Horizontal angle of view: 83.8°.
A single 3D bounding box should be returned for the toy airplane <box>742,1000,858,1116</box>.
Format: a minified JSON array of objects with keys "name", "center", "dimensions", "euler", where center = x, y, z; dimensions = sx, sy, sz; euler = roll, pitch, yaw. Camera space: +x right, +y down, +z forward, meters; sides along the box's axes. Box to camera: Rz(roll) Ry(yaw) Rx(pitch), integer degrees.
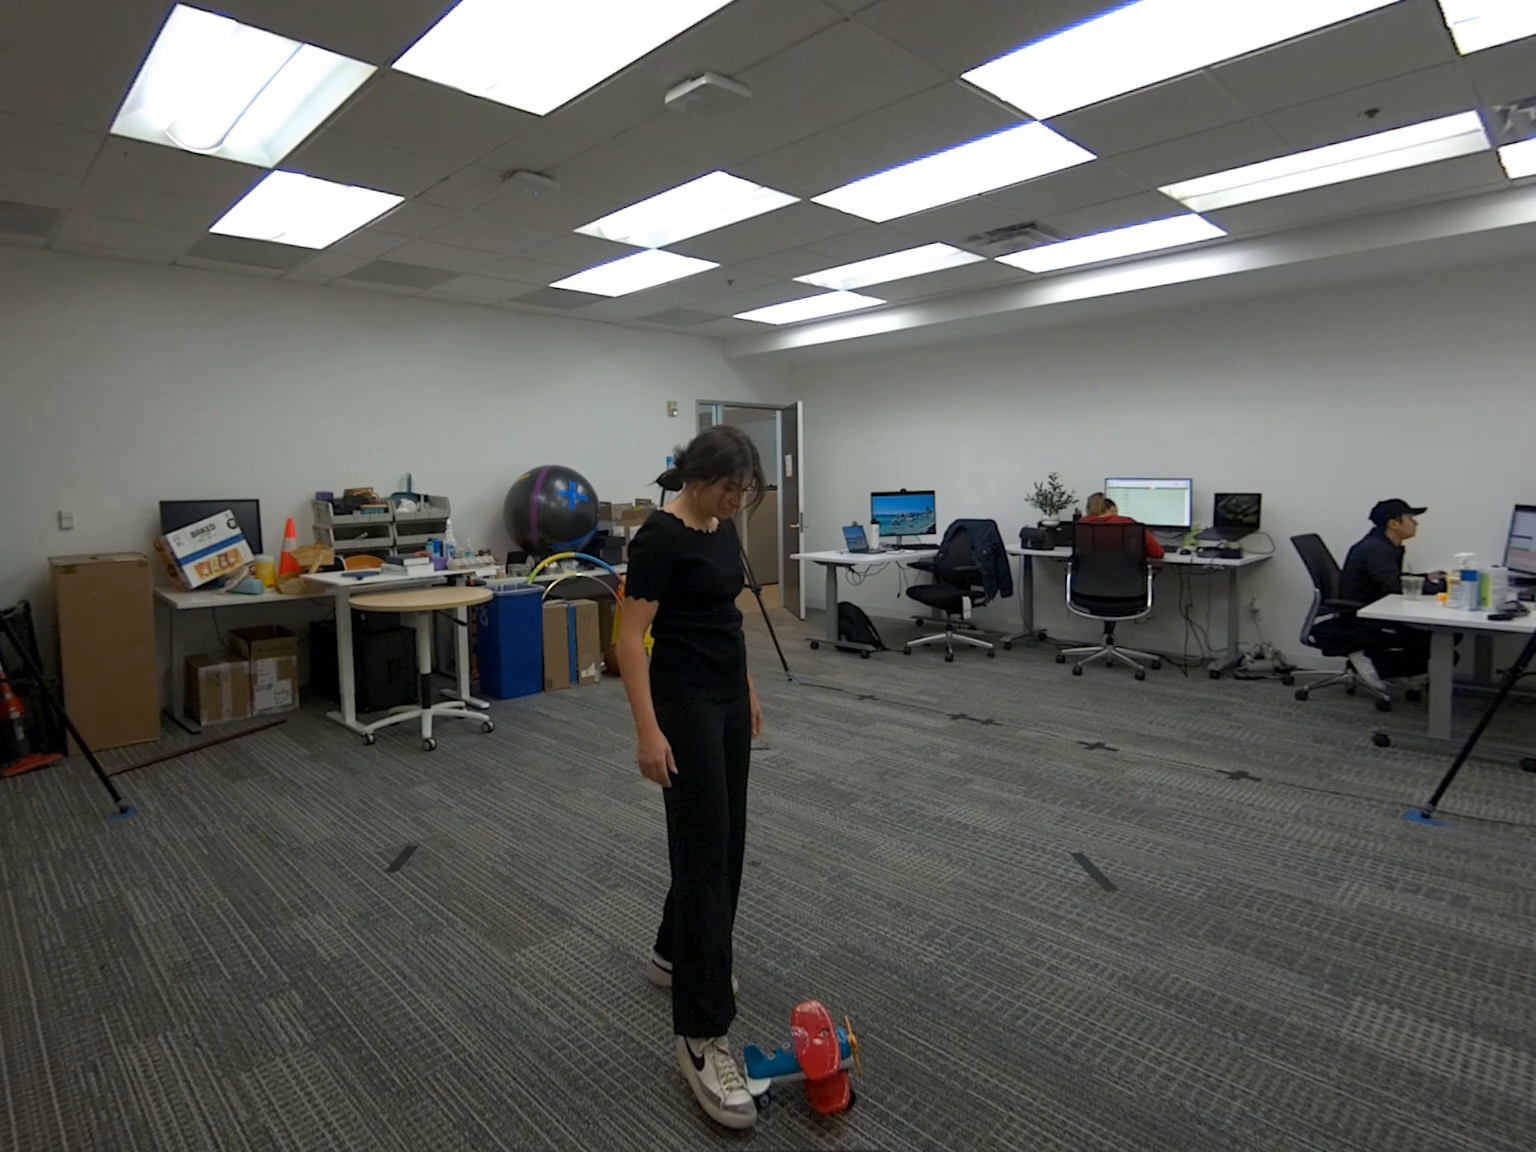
[{"name":"toy airplane","center":[0.085,1.104,1.914],"dimensions":[0.253,0.156,0.258],"euler":[-5,7,-32]}]
